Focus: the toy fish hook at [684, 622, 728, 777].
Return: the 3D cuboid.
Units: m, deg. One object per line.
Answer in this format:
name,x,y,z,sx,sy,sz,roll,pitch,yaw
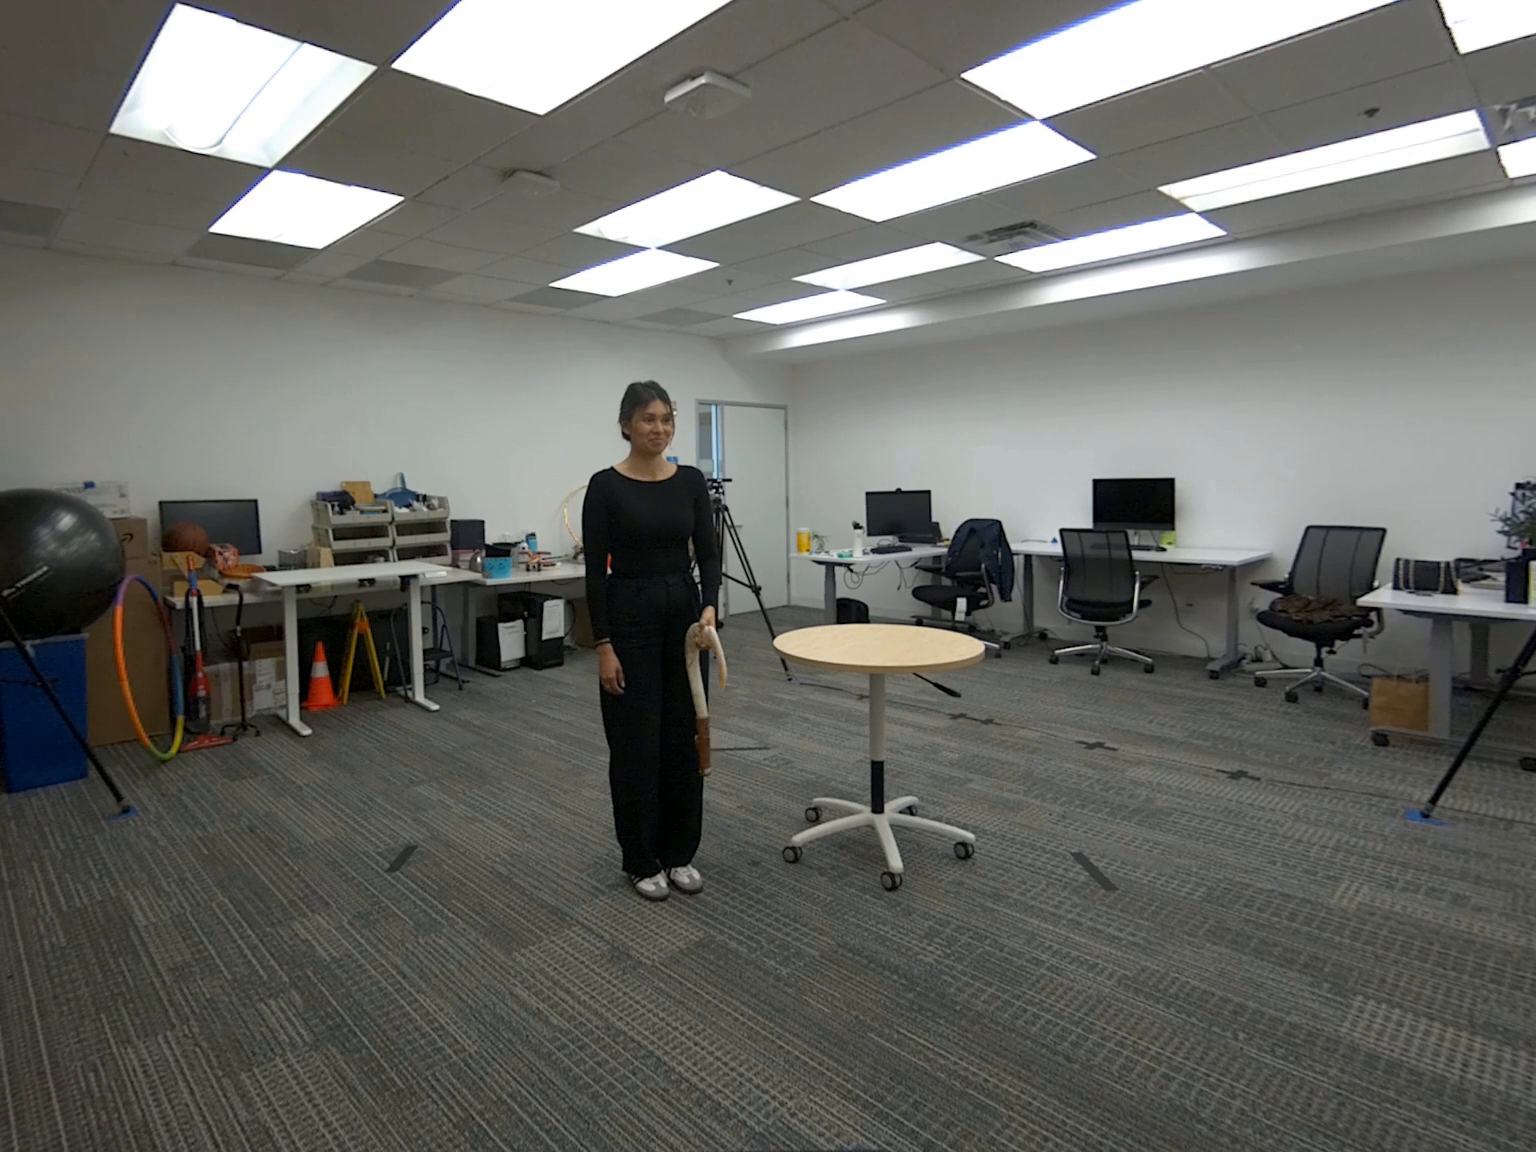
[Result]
toy fish hook,-0.201,0.404,2.699,0.047,0.503,0.231,-7,9,-29
